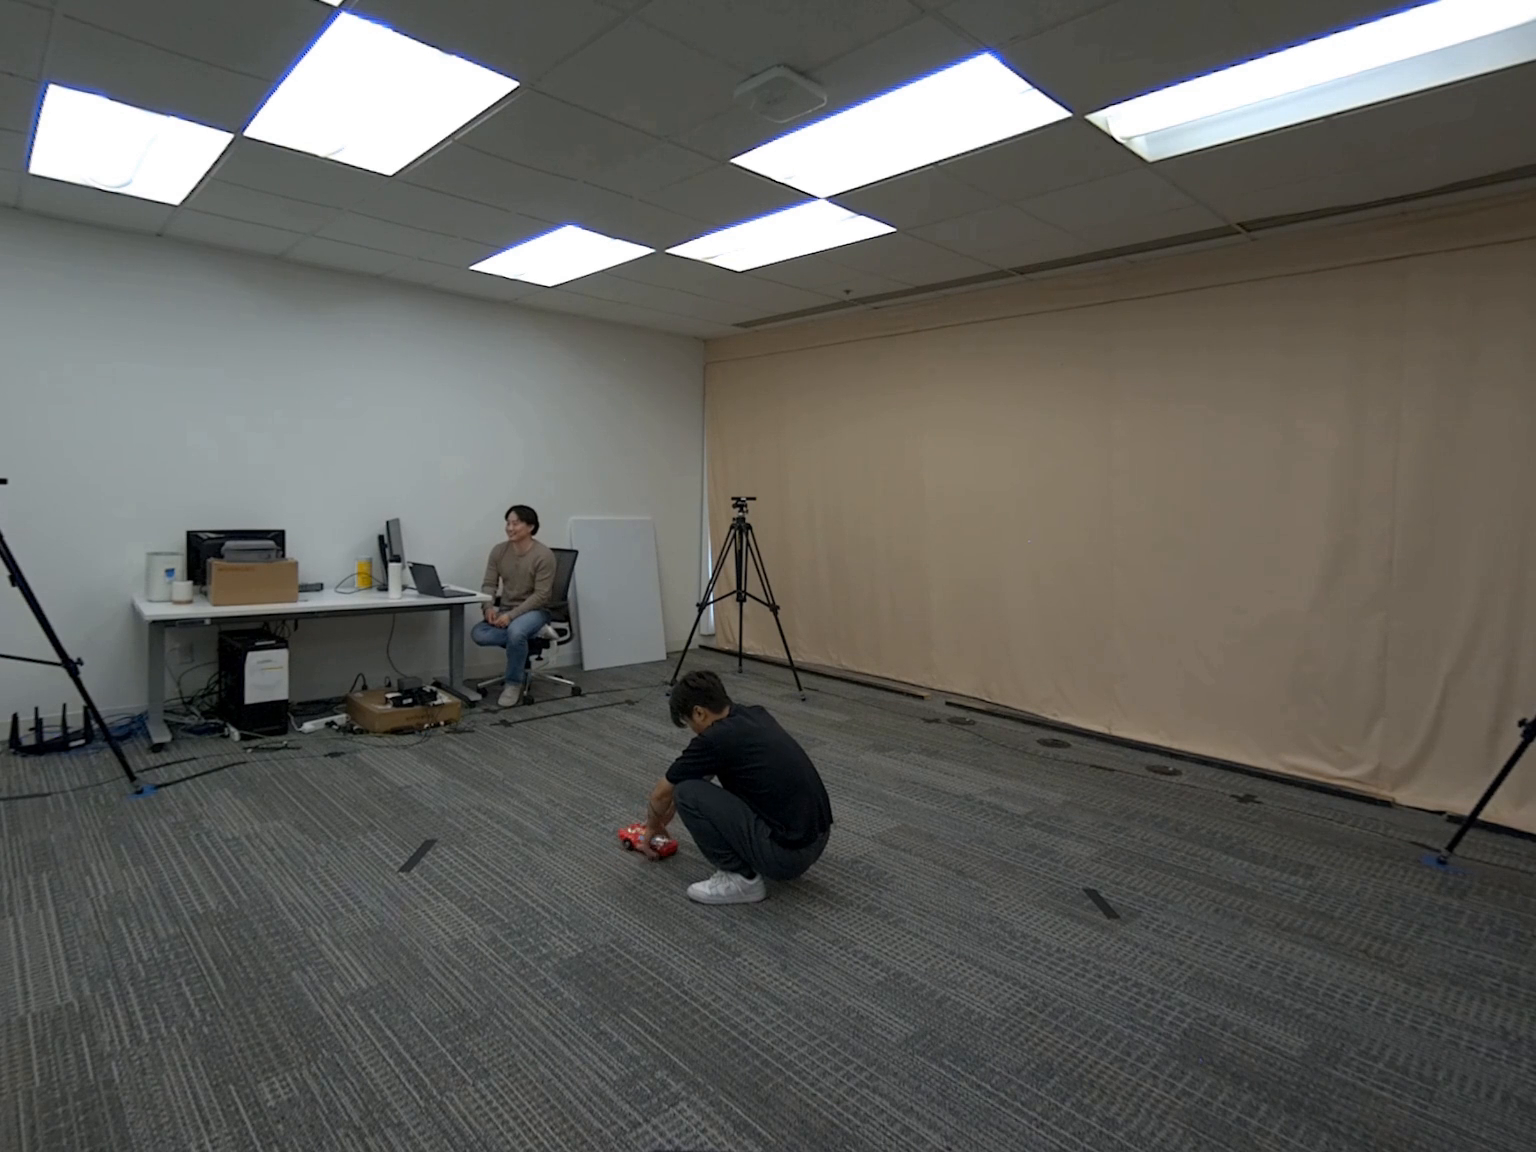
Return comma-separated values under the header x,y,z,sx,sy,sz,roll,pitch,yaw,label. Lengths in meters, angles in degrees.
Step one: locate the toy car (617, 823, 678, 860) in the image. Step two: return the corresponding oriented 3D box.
x,y,z,sx,sy,sz,roll,pitch,yaw,label
-0.482,1.043,3.322,0.261,0.083,0.127,18,14,33,toy car
